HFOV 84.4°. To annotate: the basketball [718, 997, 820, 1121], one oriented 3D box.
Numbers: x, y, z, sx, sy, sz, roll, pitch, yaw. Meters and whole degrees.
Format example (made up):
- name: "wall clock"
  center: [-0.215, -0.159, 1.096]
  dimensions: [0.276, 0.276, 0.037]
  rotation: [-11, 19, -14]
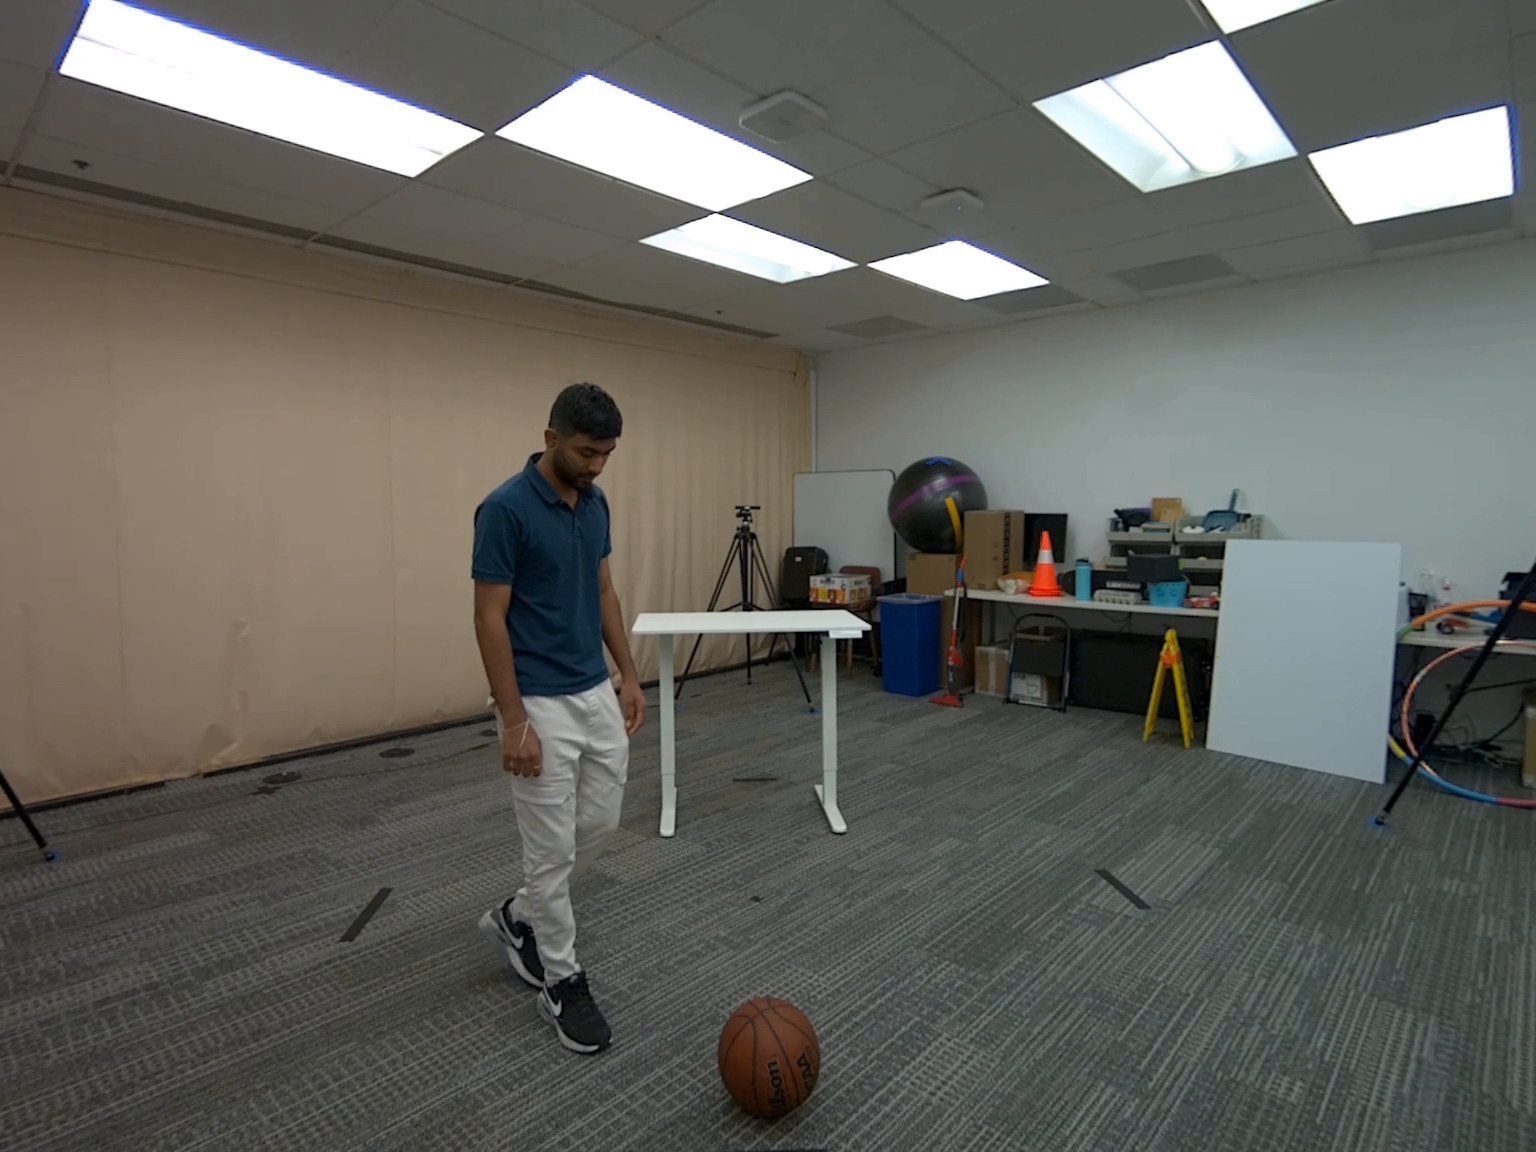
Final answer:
- name: "basketball"
  center: [0.006, 1.114, 1.946]
  dimensions: [0.236, 0.235, 0.237]
  rotation: [0, 4, -2]
